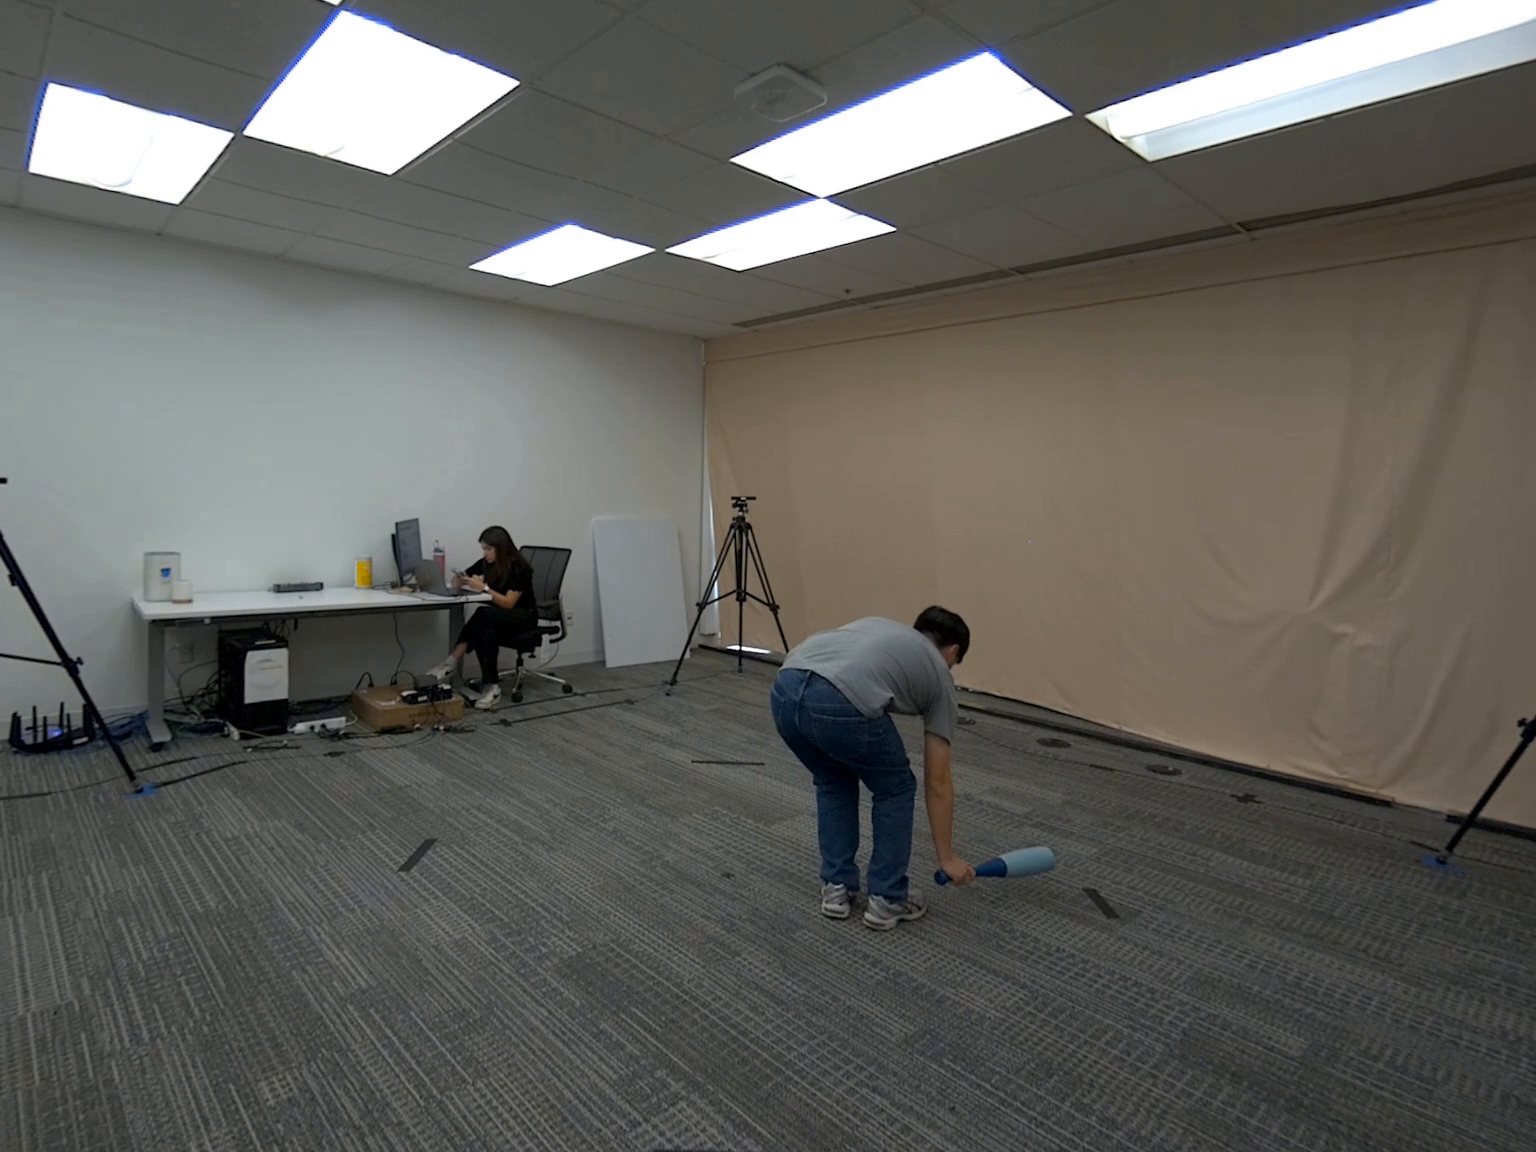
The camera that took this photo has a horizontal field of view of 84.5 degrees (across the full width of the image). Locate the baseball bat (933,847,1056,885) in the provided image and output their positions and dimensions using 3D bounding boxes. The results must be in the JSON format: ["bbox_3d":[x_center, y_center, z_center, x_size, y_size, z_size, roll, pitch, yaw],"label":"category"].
[{"bbox_3d":[0.782,1.020,2.924,0.531,0.089,0.091,2,3,-31],"label":"baseball bat"}]
